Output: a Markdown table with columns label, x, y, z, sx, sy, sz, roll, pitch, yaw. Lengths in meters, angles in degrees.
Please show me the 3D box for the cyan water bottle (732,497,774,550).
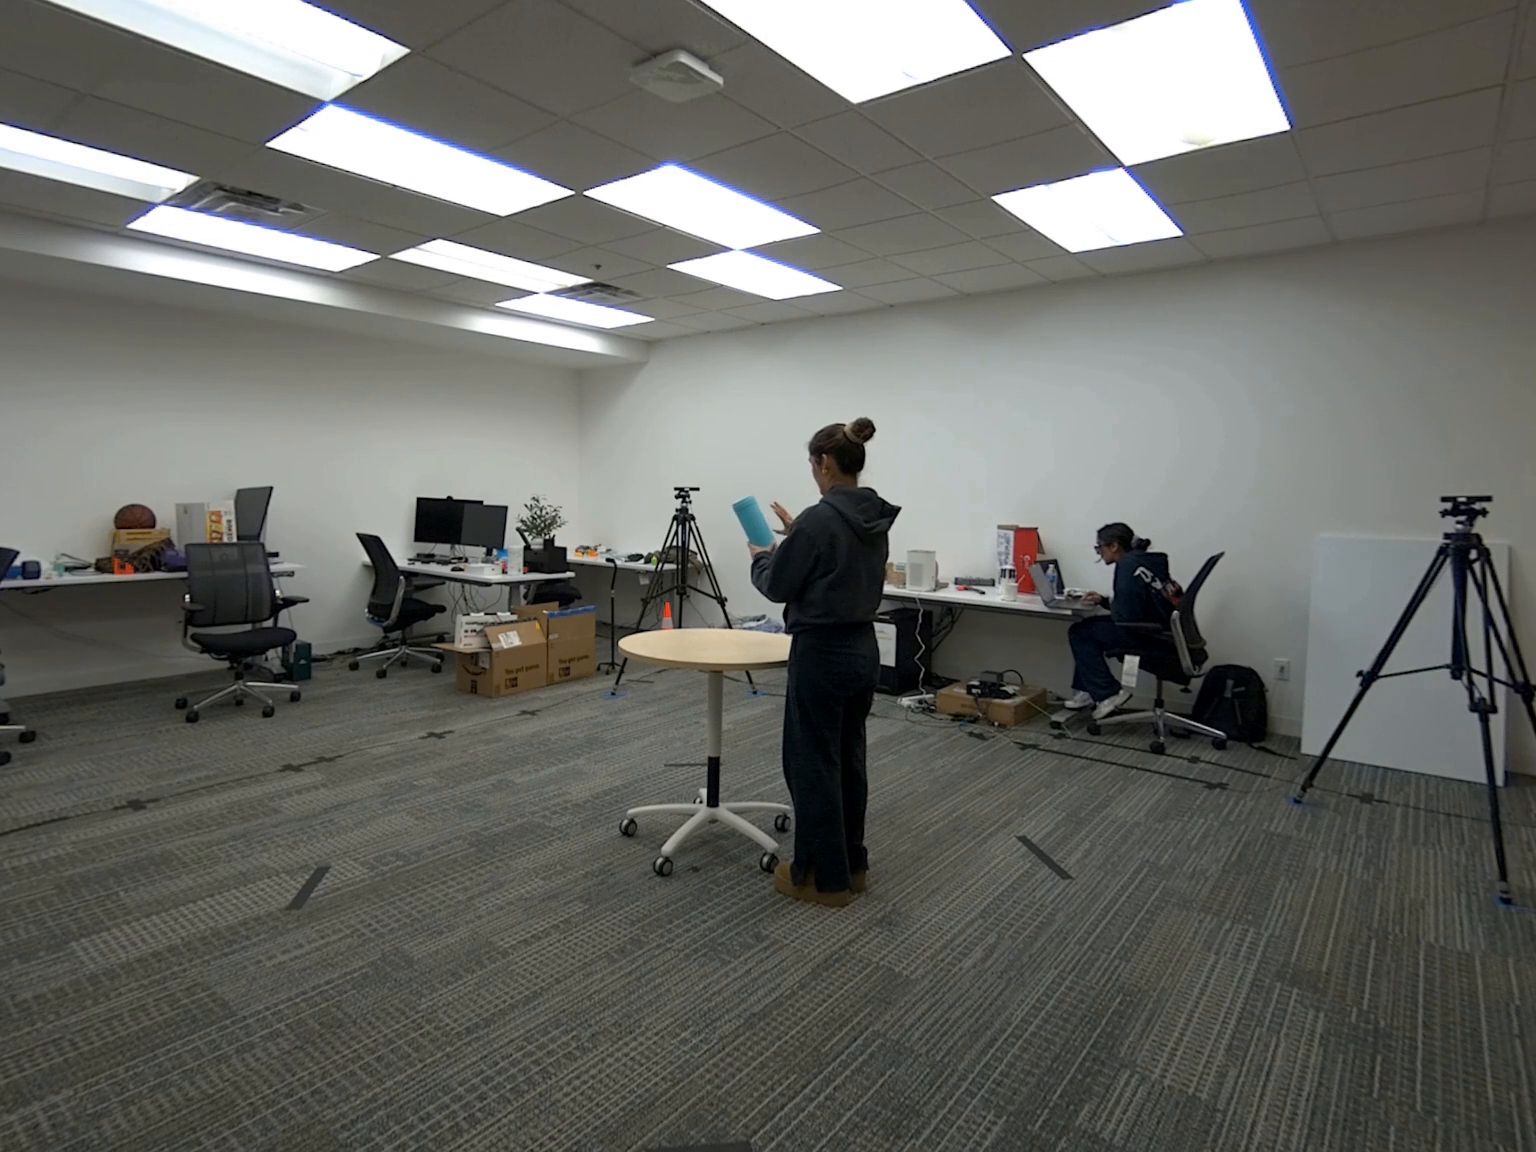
| label | x | y | z | sx | sy | sz | roll | pitch | yaw |
| --- | --- | --- | --- | --- | --- | --- | --- | --- | --- |
| cyan water bottle | -0.033 | -0.159 | 3.159 | 0.092 | 0.282 | 0.093 | -25 | 3 | 0 |
